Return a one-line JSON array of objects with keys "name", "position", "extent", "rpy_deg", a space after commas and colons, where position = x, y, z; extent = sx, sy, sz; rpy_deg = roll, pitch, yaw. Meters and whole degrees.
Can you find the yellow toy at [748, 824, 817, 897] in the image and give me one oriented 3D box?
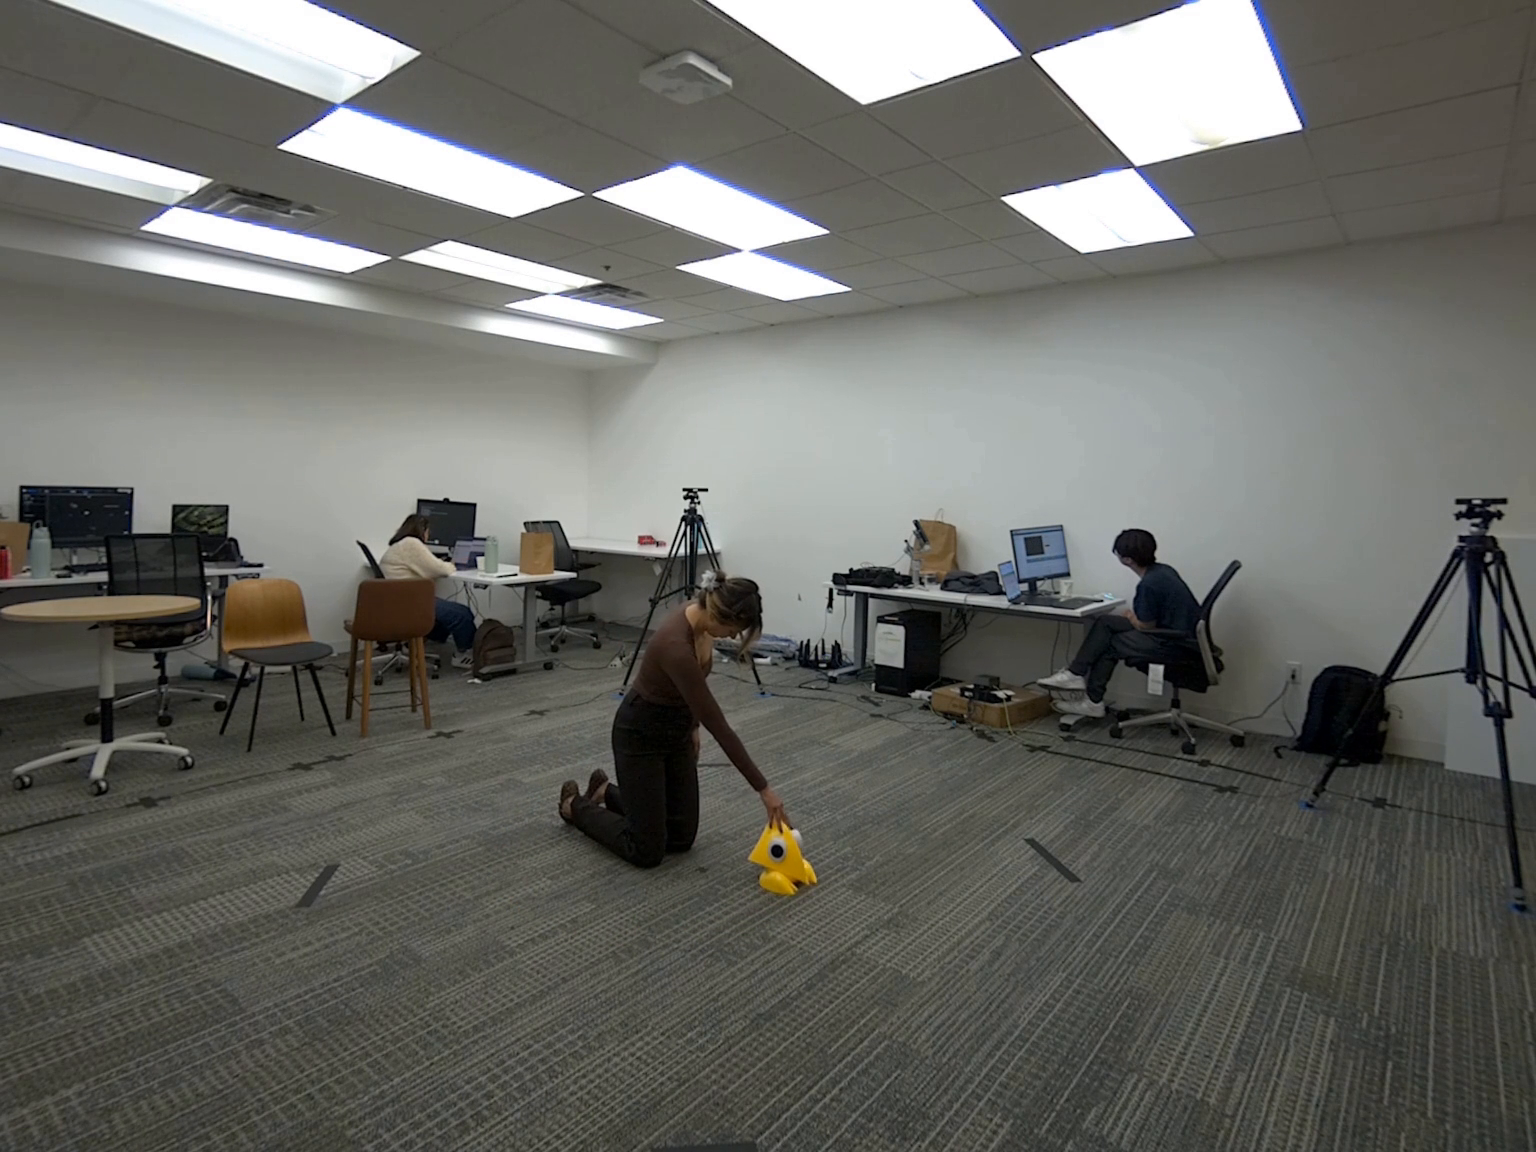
[{"name": "yellow toy", "position": [0.056, 0.969, 3.028], "extent": [0.200, 0.230, 0.199], "rpy_deg": [5, 6, 42]}]
